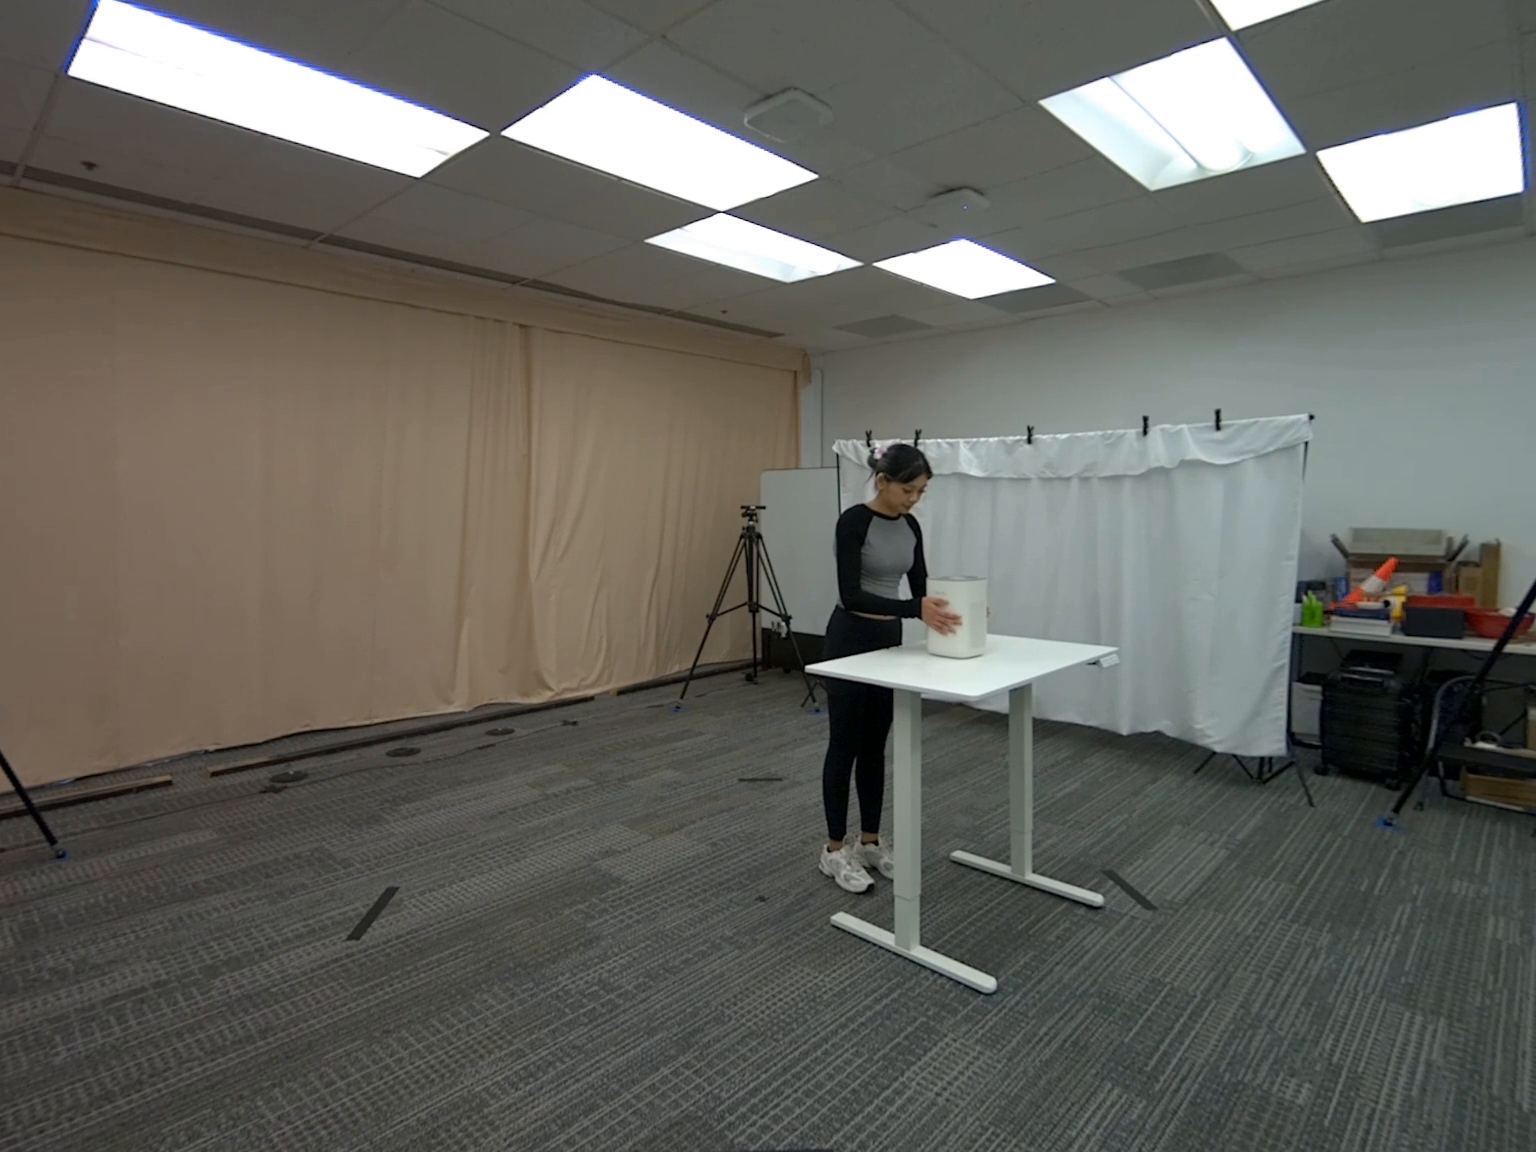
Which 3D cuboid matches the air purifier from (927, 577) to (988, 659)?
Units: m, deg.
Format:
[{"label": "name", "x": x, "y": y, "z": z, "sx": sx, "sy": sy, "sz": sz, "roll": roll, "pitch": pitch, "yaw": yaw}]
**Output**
[{"label": "air purifier", "x": 0.640, "y": 0.137, "z": 2.865, "sx": 0.166, "sy": 0.265, "sz": 0.176, "roll": -4, "pitch": 3, "yaw": -43}]
